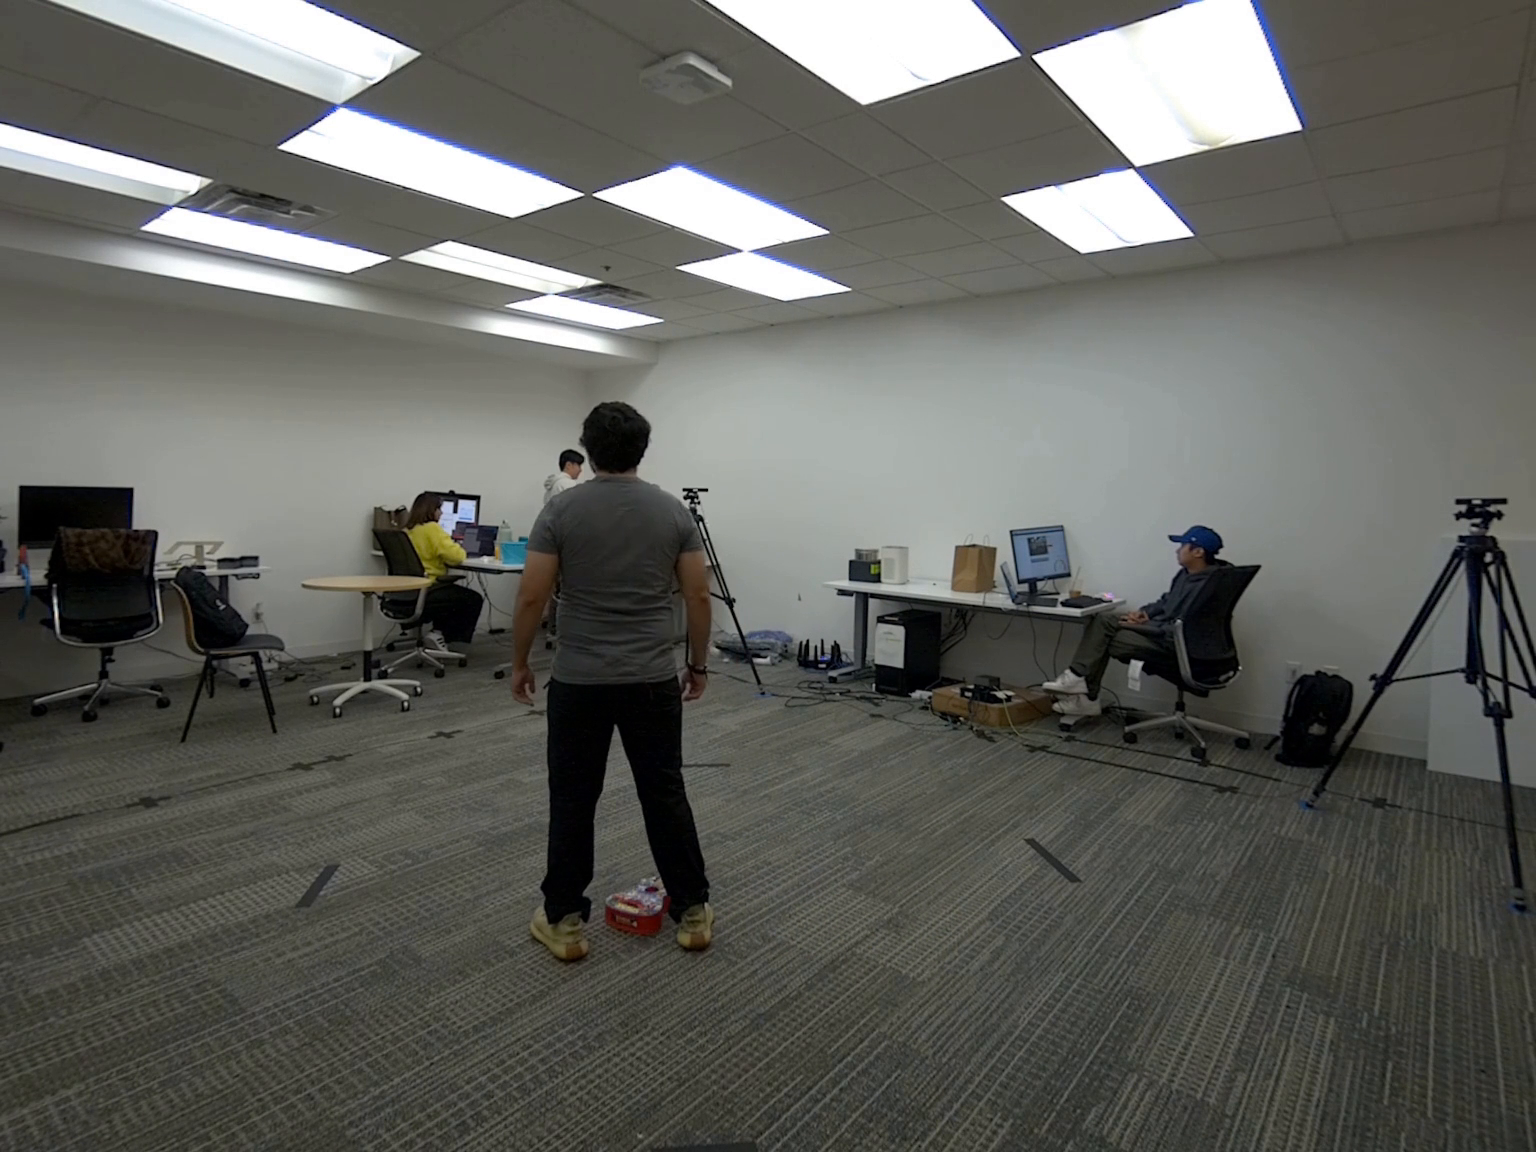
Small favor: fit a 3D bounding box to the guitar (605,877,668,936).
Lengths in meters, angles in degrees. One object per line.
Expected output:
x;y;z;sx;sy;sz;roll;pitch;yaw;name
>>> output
-0.337;1.058;2.862;0.199;0.070;0.484;4;6;34;guitar
